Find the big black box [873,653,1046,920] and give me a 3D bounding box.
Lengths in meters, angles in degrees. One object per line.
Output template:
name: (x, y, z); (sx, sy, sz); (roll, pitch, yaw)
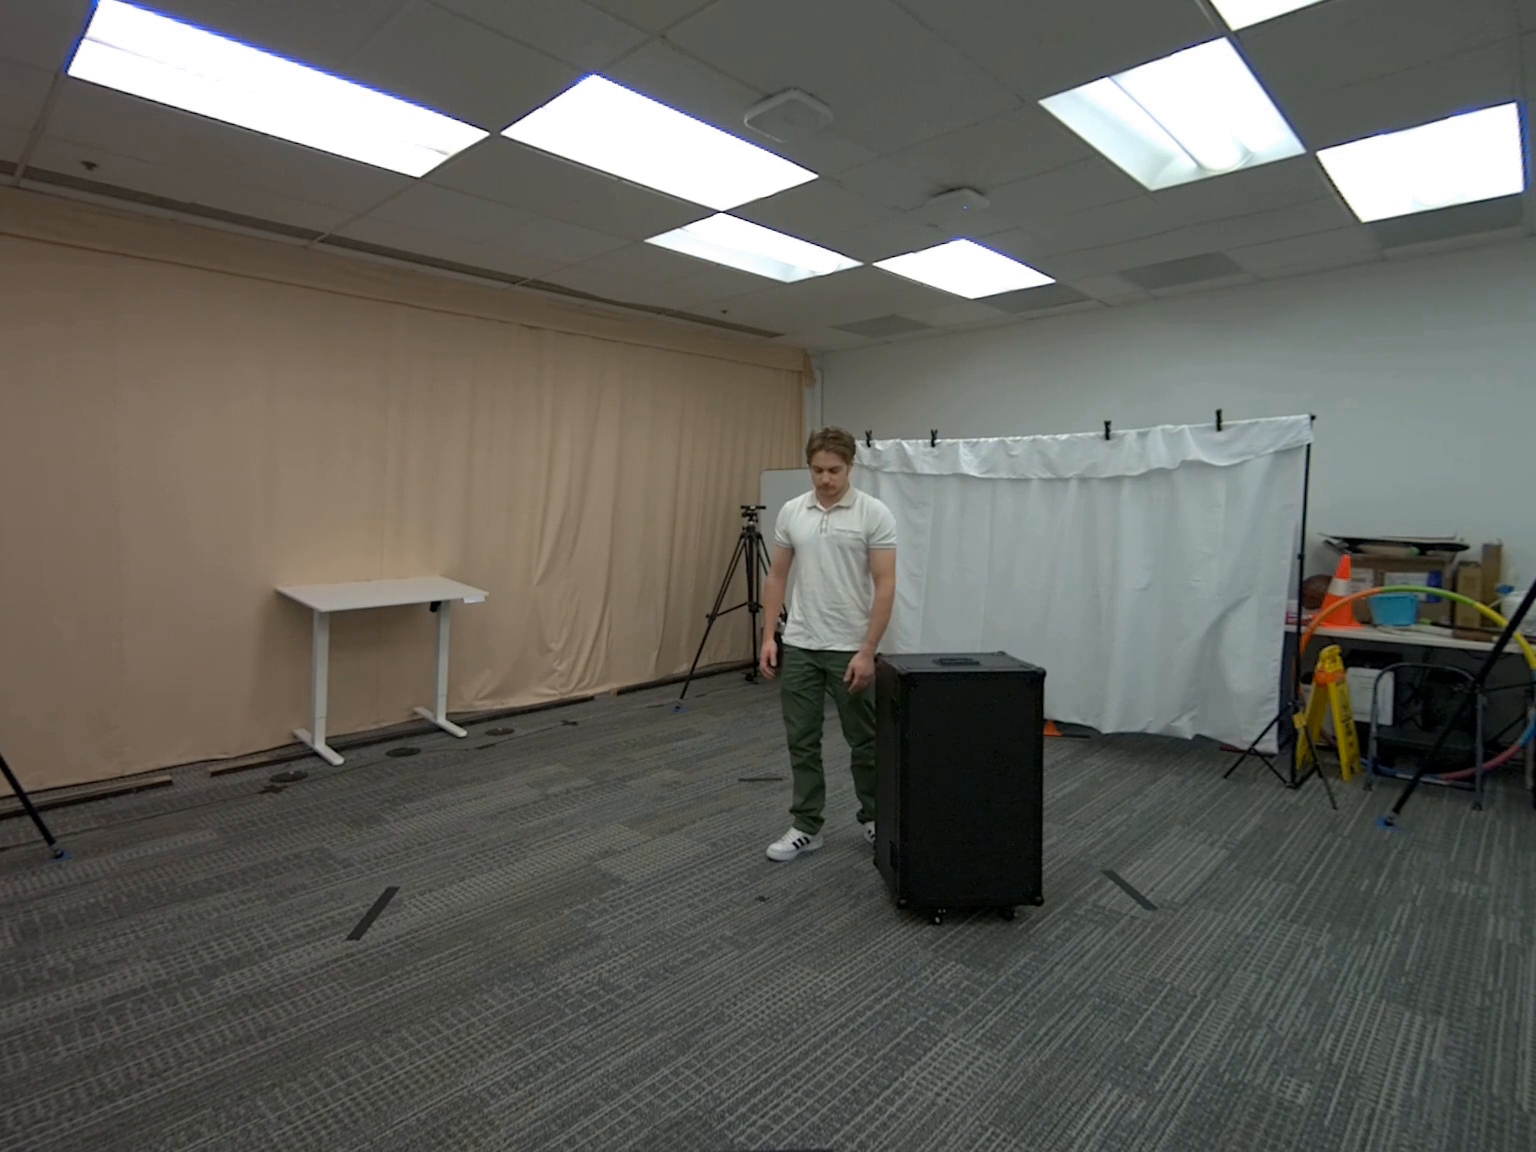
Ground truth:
big black box: (0.651, 0.718, 2.934); (0.520, 0.860, 0.398); (-1, 2, -4)
